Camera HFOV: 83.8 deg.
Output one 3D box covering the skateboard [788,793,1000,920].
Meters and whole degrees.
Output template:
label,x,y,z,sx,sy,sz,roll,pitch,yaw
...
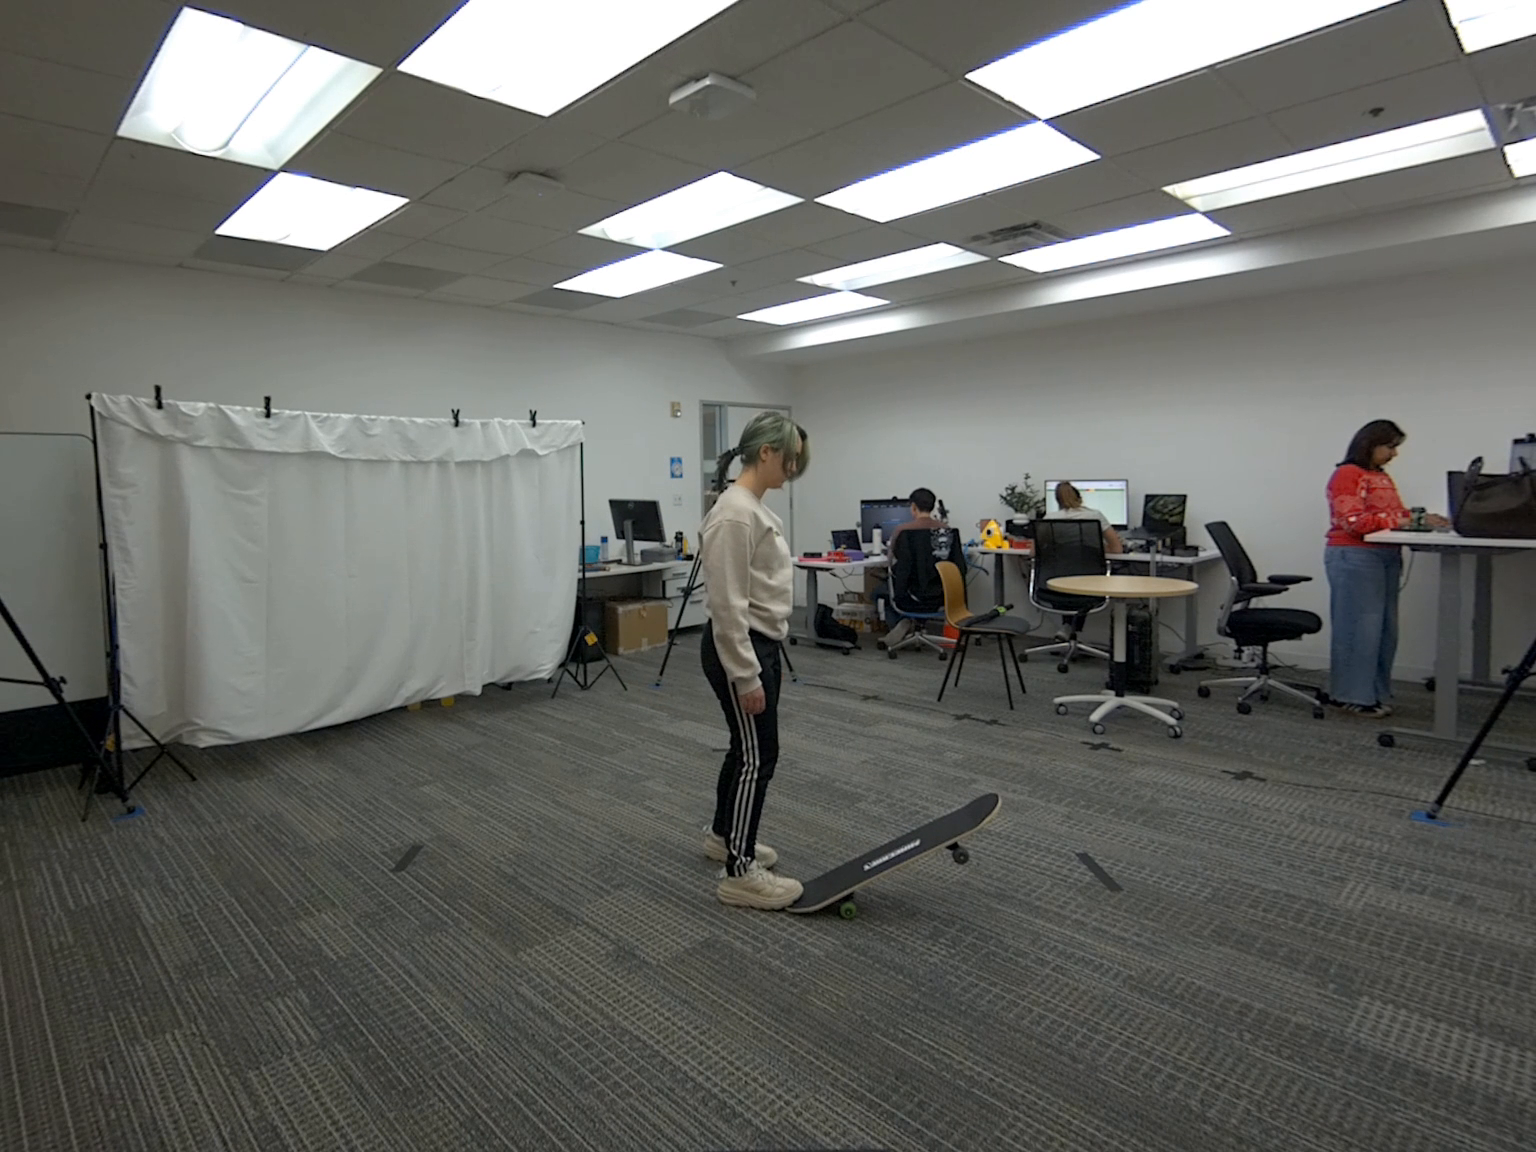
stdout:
label,x,y,z,sx,sy,sz,roll,pitch,yaw
skateboard,0.417,0.938,2.757,0.787,0.110,0.193,-28,4,6
